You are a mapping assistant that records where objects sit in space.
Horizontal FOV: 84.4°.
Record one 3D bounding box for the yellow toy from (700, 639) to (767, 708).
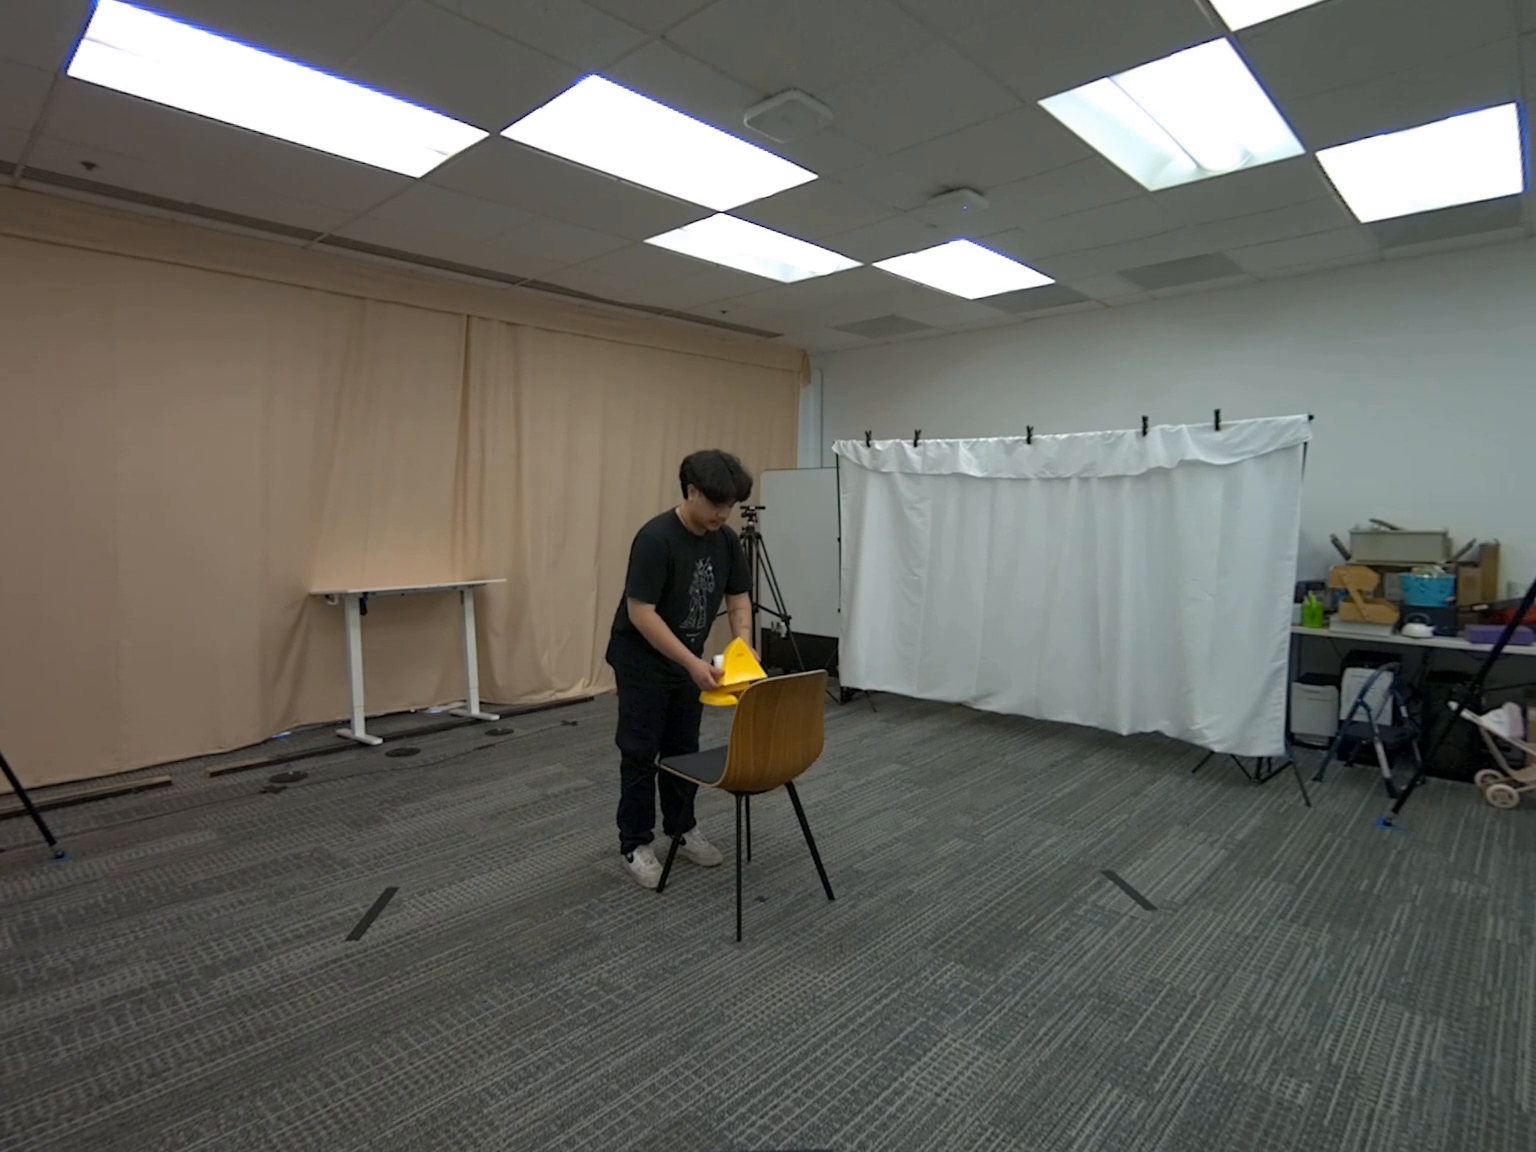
[{"bbox_3d":[-0.139,0.337,3.029,0.198,0.230,0.199,-3,1,-43],"label":"yellow toy"}]
